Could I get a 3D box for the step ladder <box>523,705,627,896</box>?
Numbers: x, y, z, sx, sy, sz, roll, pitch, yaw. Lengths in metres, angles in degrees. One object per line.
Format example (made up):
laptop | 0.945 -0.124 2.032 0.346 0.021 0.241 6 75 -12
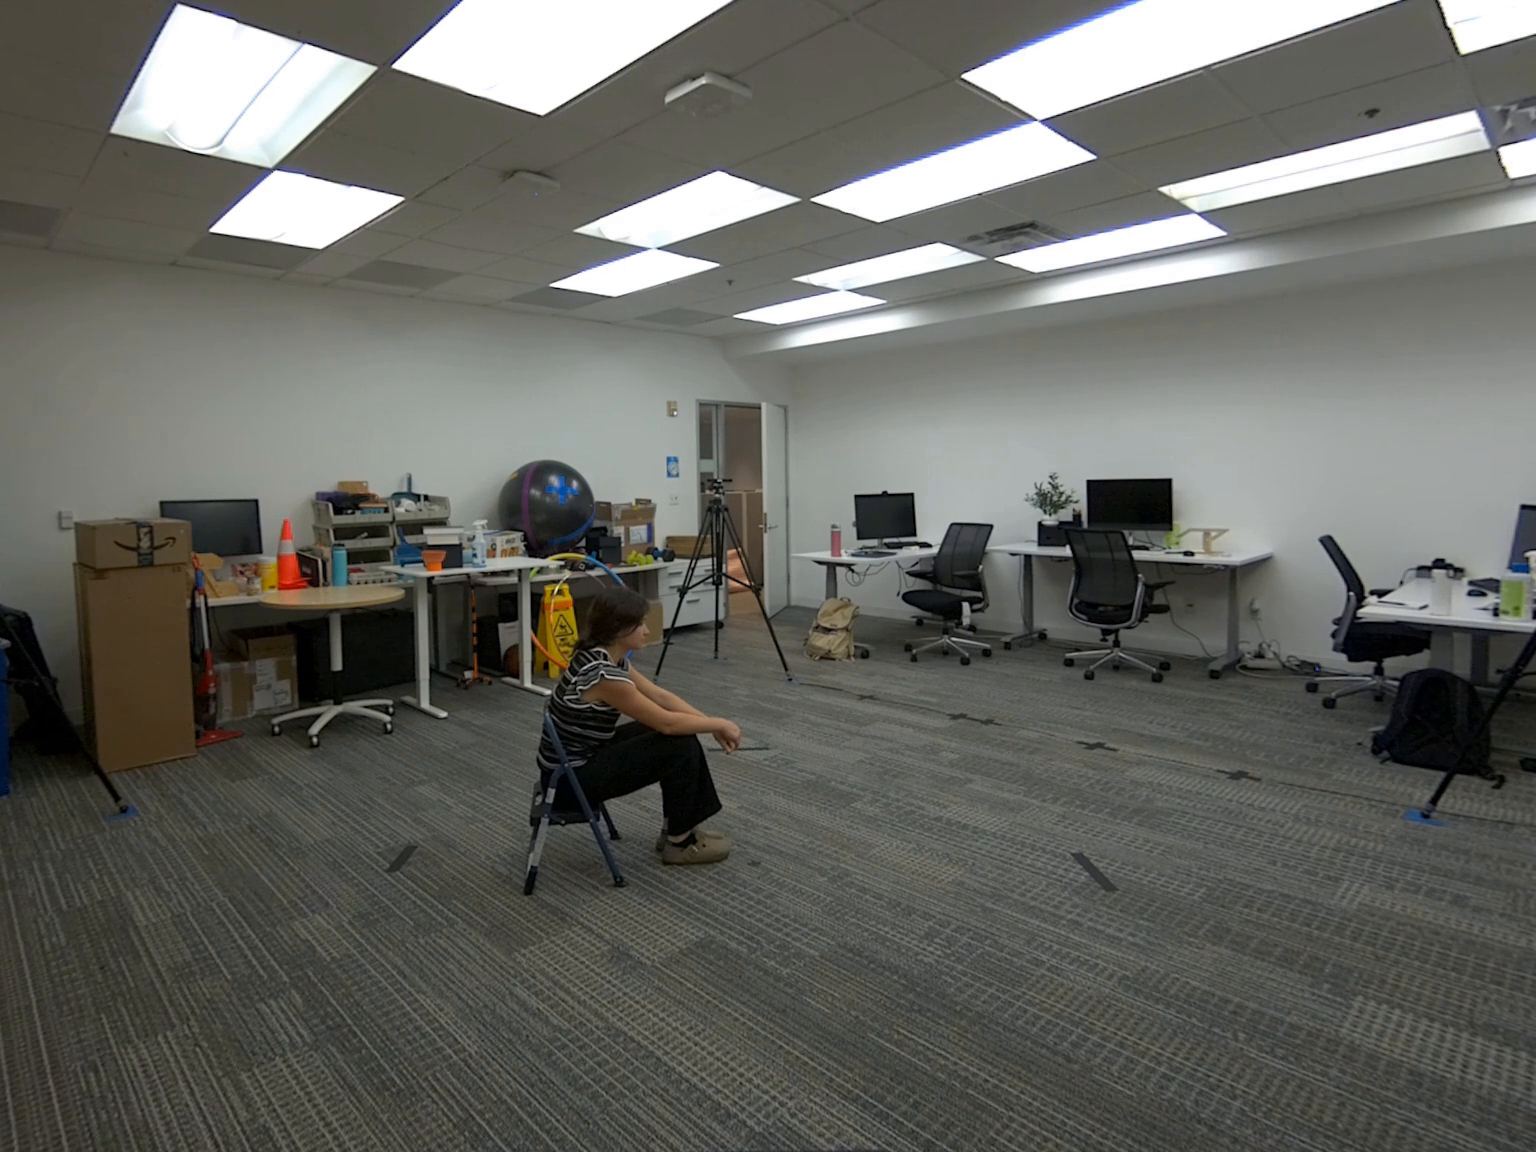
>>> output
step ladder | -0.706 0.762 3.105 0.346 0.604 0.436 -2 4 -12
